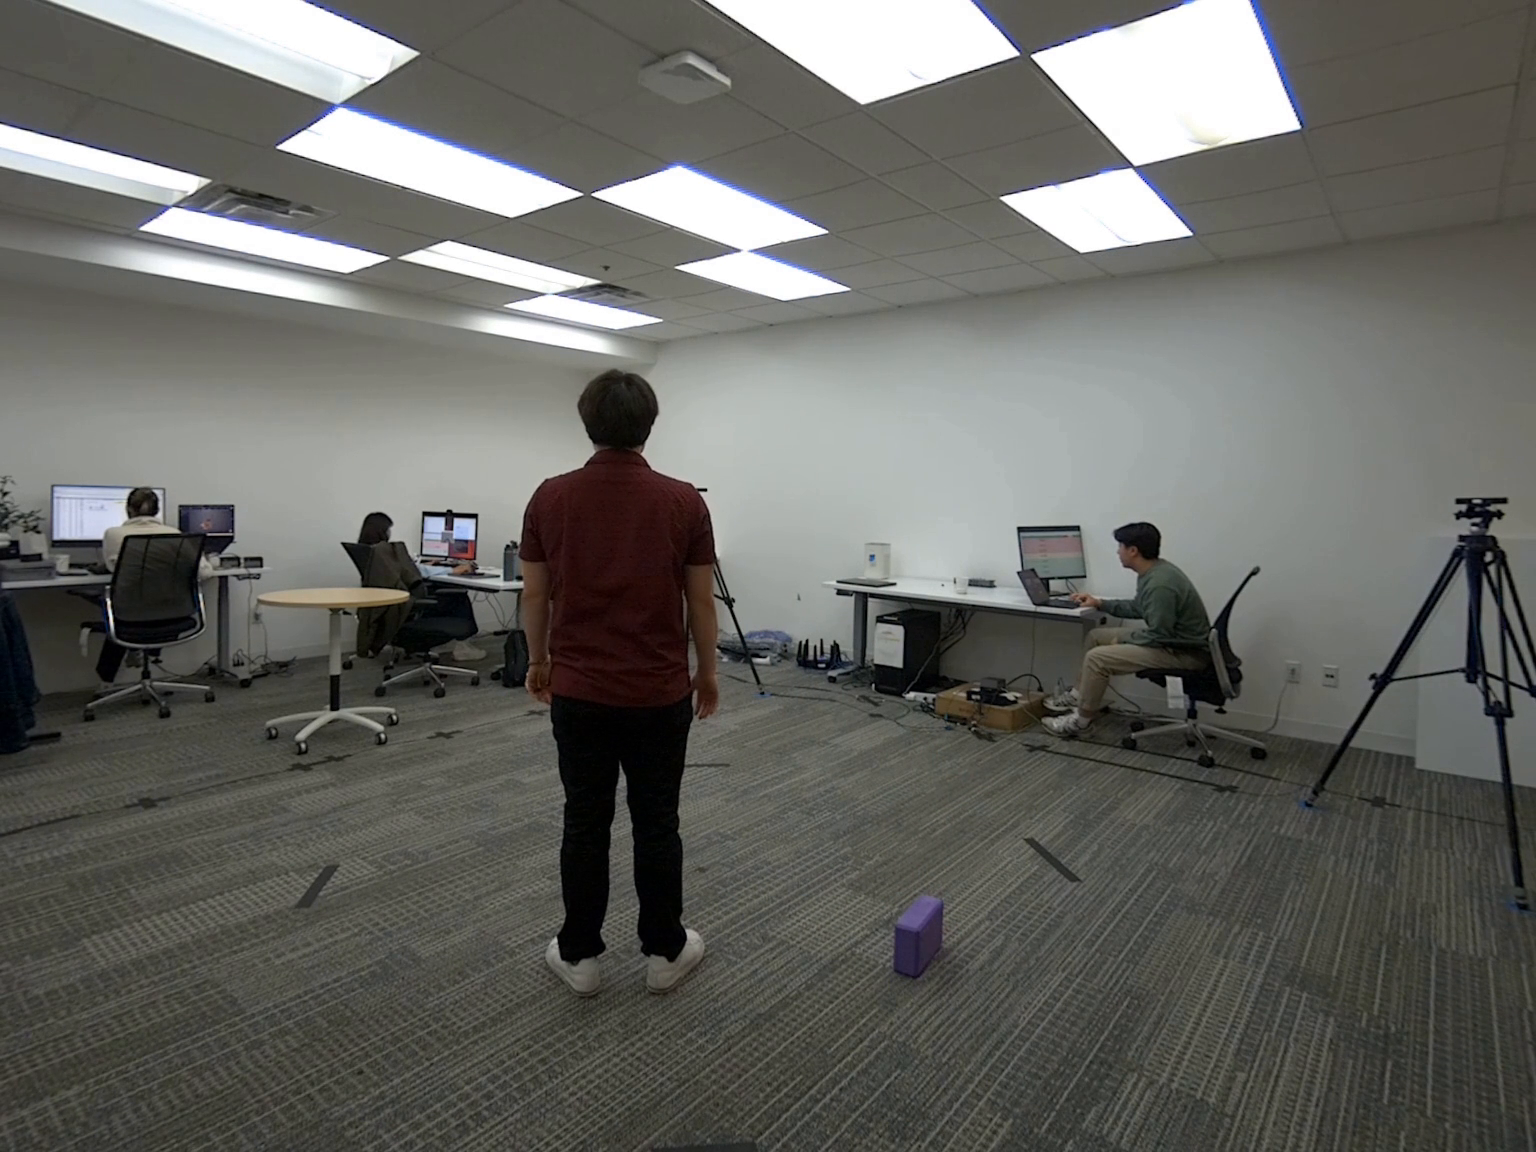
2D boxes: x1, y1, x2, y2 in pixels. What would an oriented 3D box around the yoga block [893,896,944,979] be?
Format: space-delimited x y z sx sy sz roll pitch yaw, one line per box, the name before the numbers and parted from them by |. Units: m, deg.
yoga block | 0.443 1.062 2.543 0.079 0.148 0.223 2 5 31
